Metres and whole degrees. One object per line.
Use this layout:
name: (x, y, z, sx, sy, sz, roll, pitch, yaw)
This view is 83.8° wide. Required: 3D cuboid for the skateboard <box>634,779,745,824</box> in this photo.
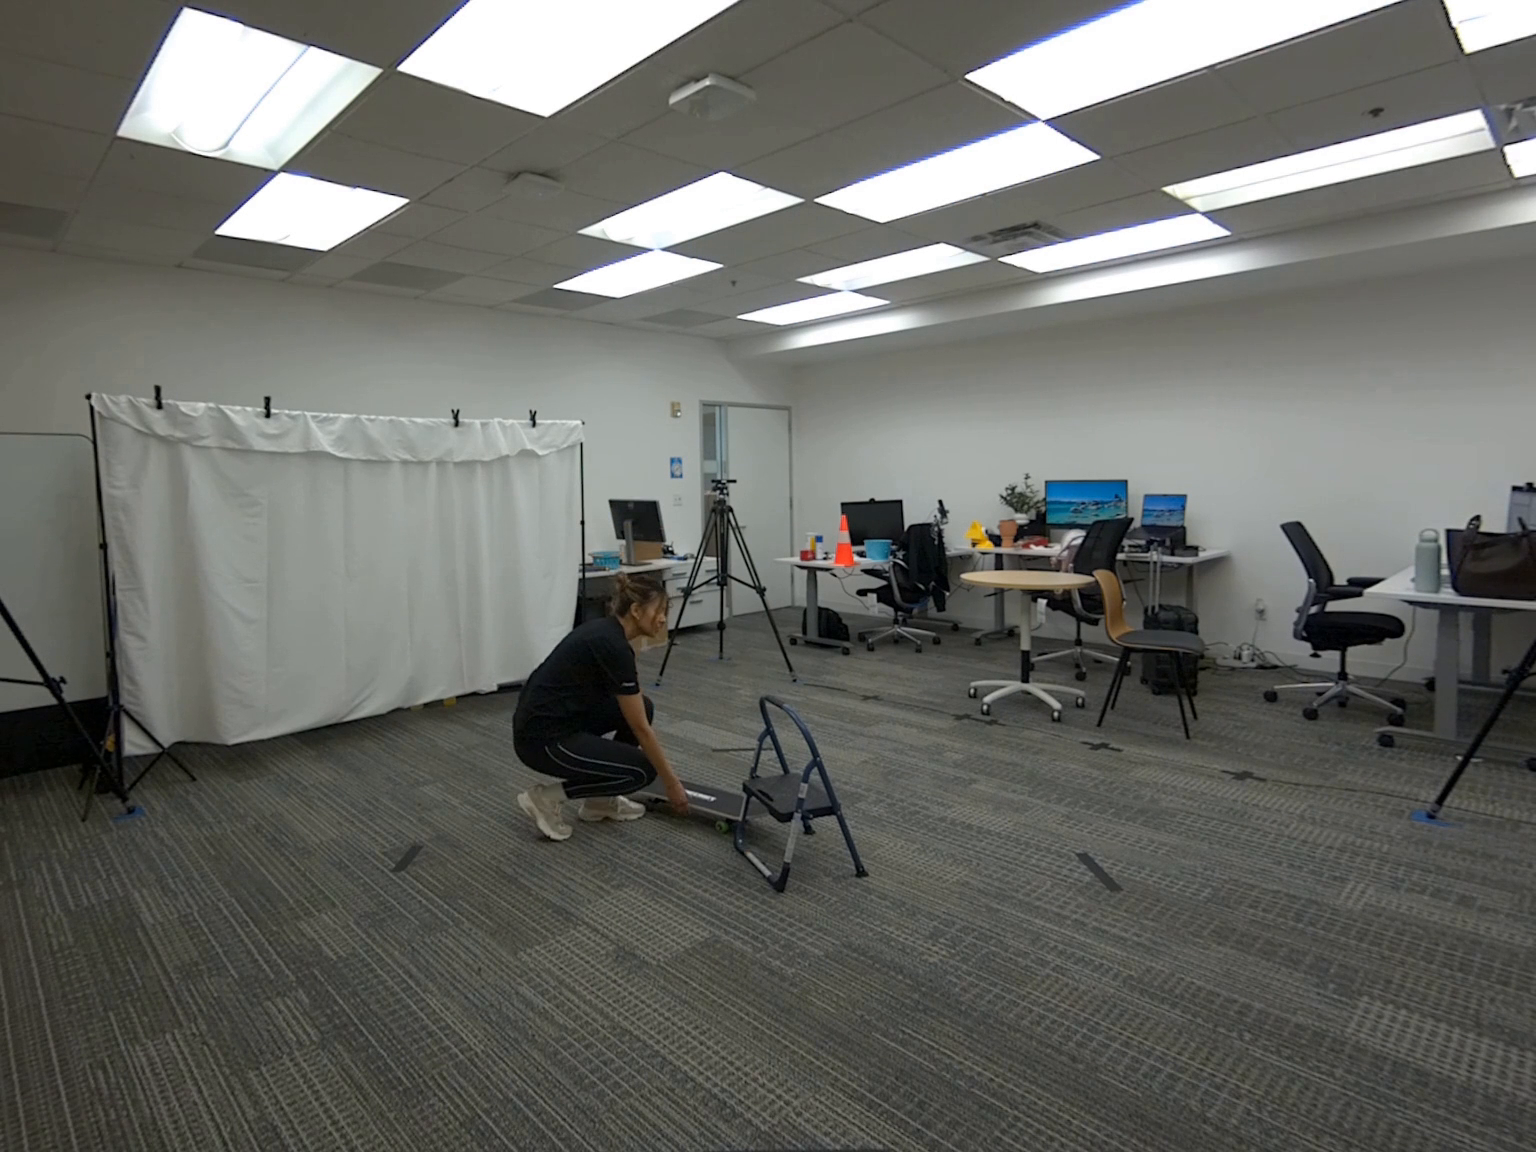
skateboard: (-0.304, 0.945, 3.576, 0.808, 0.110, 0.189, 4, 8, 36)
